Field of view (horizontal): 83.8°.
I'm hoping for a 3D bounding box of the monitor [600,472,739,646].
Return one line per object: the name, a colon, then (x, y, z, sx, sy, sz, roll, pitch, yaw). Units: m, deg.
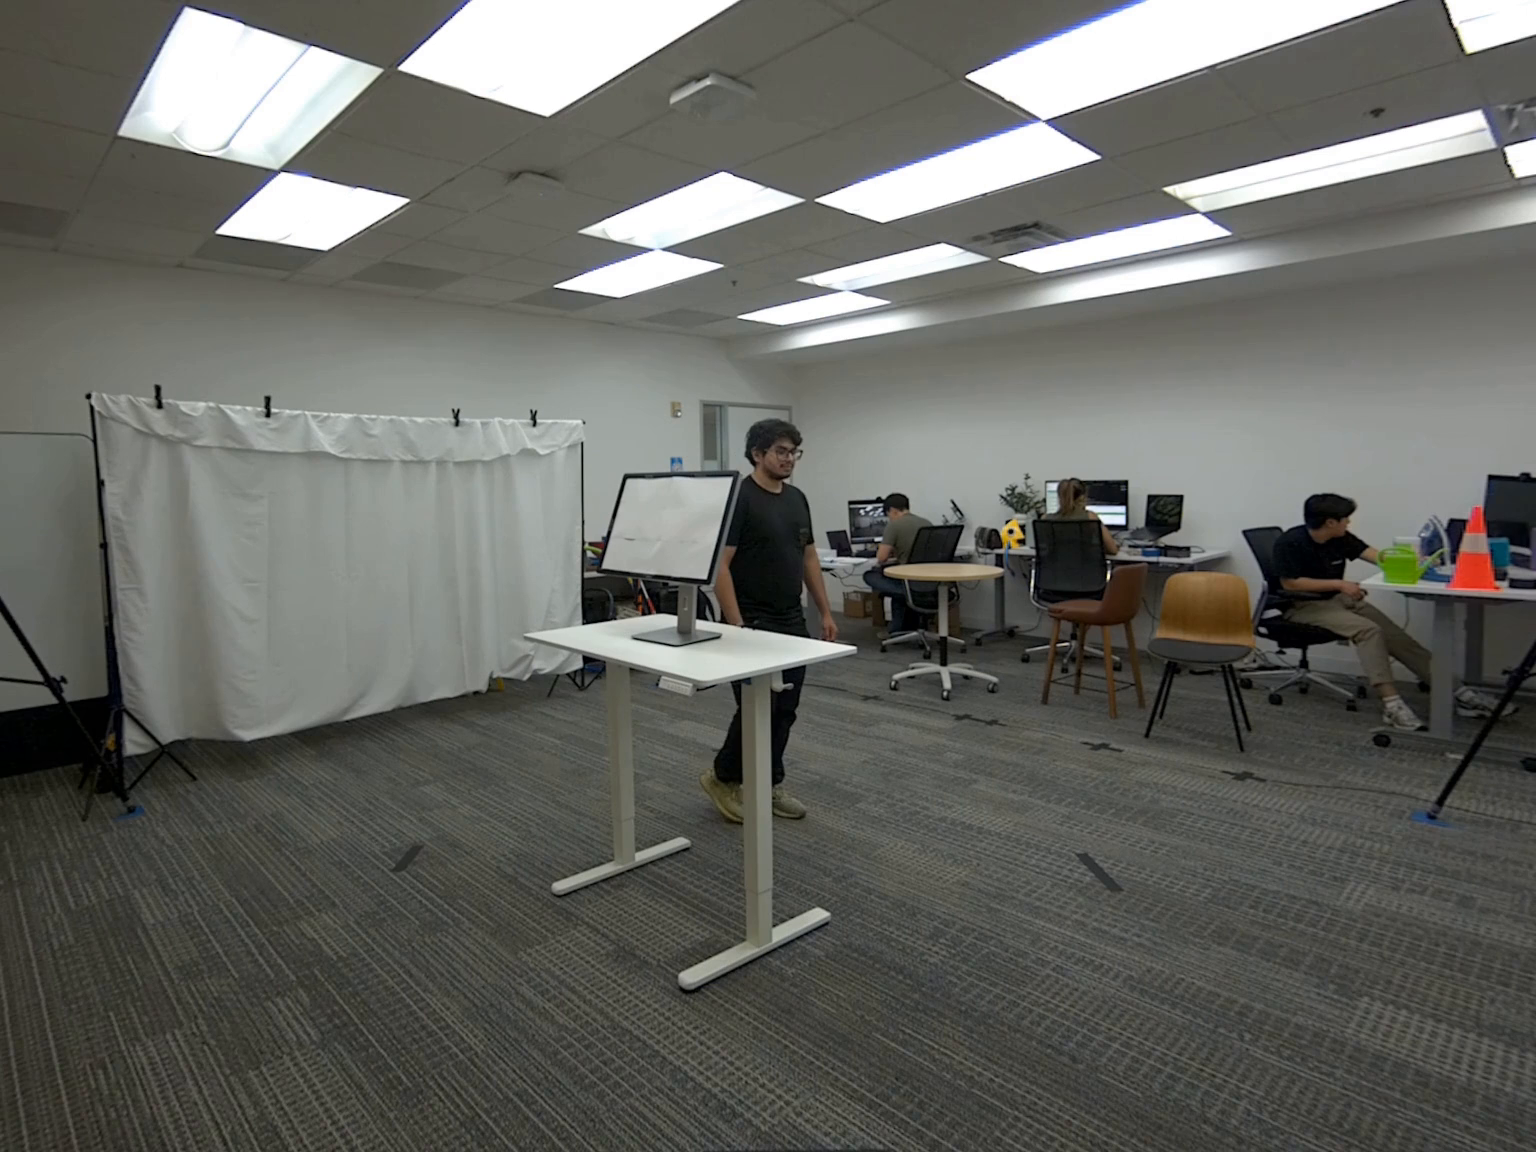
monitor: (-0.286, -0.064, 2.803, 0.582, 0.556, 0.203, 3, -4, 43)
